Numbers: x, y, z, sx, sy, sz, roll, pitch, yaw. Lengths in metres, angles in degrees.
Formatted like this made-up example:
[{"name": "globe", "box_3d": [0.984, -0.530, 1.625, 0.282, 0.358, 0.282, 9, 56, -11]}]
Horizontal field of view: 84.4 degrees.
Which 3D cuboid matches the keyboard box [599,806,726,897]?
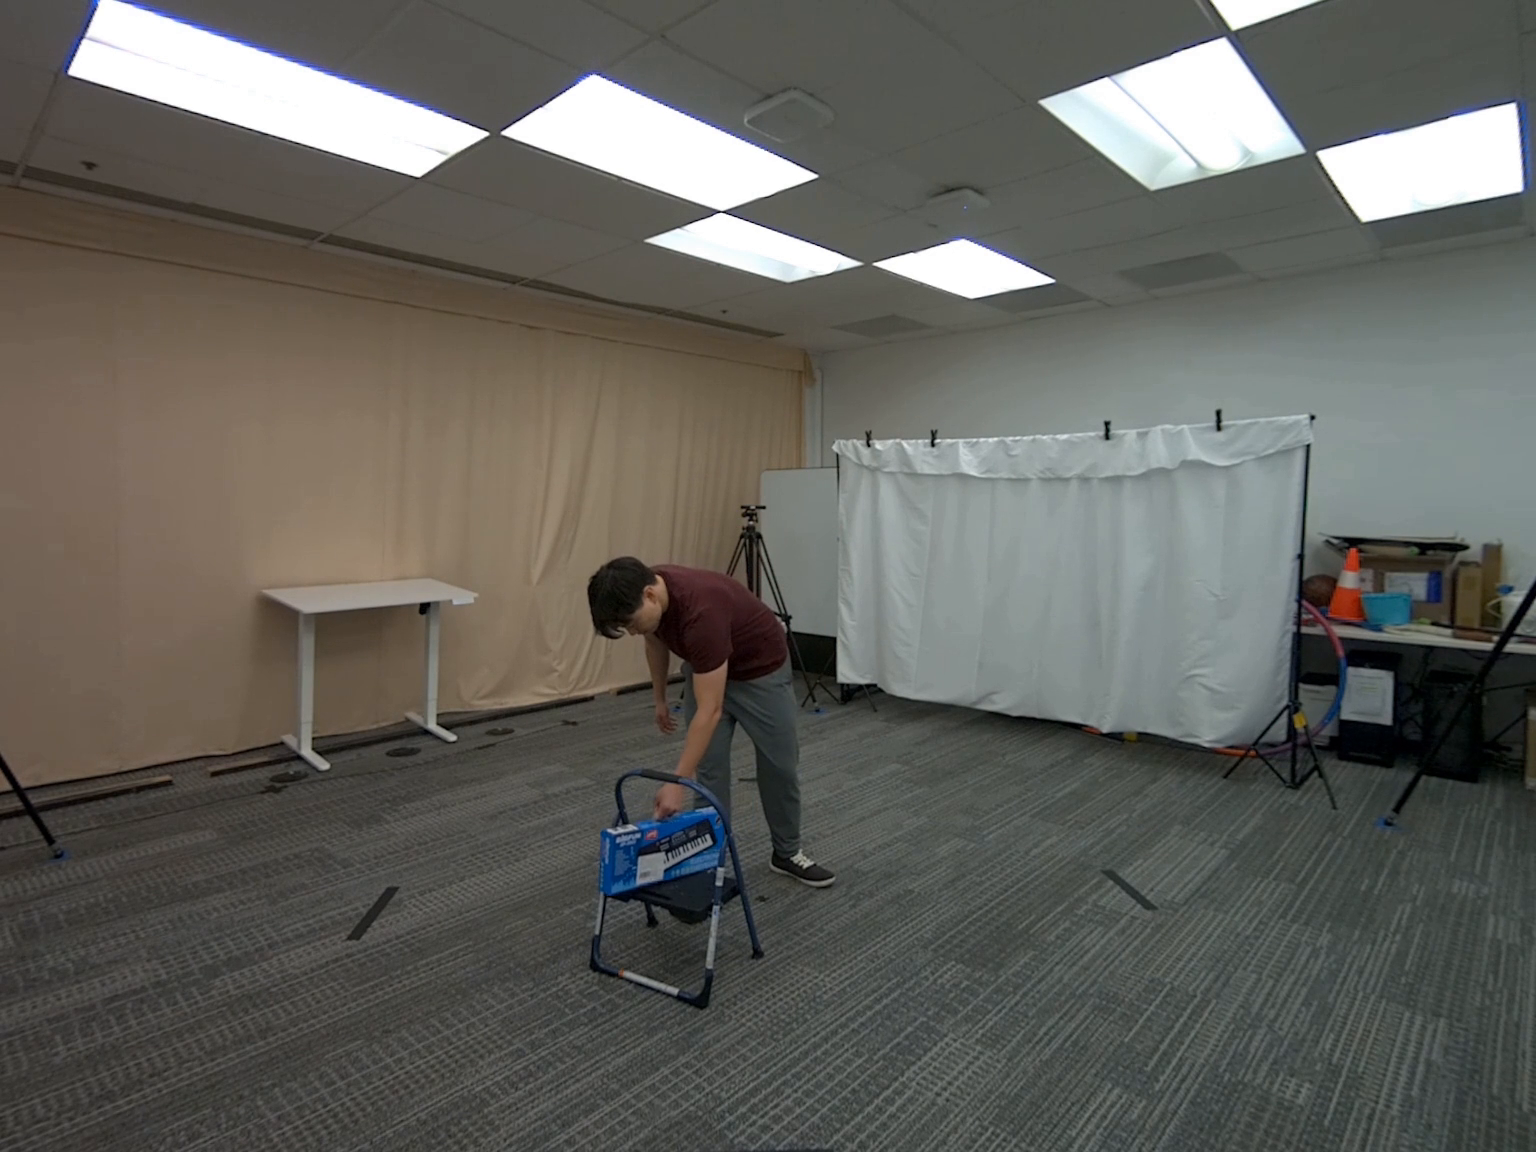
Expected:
[{"name": "keyboard box", "box_3d": [-0.315, 0.822, 2.548, 0.422, 0.176, 0.061, 2, -1, -45]}]
